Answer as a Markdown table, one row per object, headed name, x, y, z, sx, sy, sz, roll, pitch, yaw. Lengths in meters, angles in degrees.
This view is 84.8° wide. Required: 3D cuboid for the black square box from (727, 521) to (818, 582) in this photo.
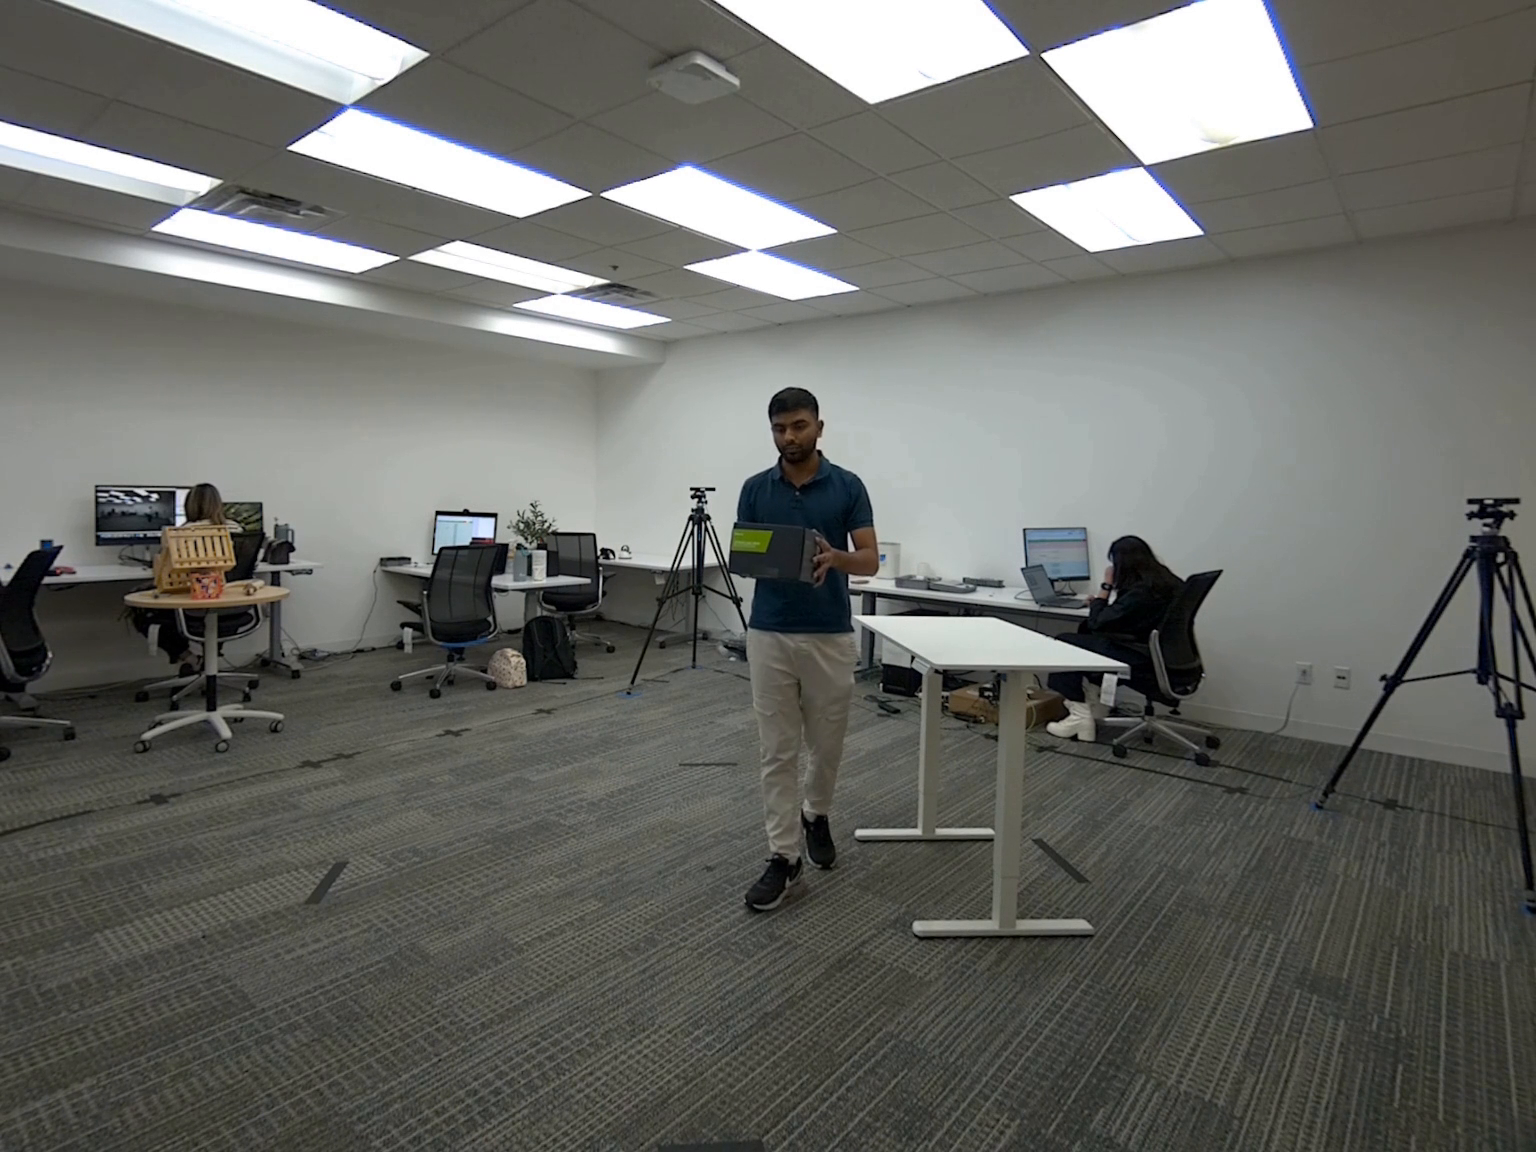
| name | x | y | z | sx | sy | sz | roll | pitch | yaw |
| --- | --- | --- | --- | --- | --- | --- | --- | --- | --- |
| black square box | 0.027 | -0.070 | 2.613 | 0.233 | 0.156 | 0.211 | 6 | -4 | 21 |
